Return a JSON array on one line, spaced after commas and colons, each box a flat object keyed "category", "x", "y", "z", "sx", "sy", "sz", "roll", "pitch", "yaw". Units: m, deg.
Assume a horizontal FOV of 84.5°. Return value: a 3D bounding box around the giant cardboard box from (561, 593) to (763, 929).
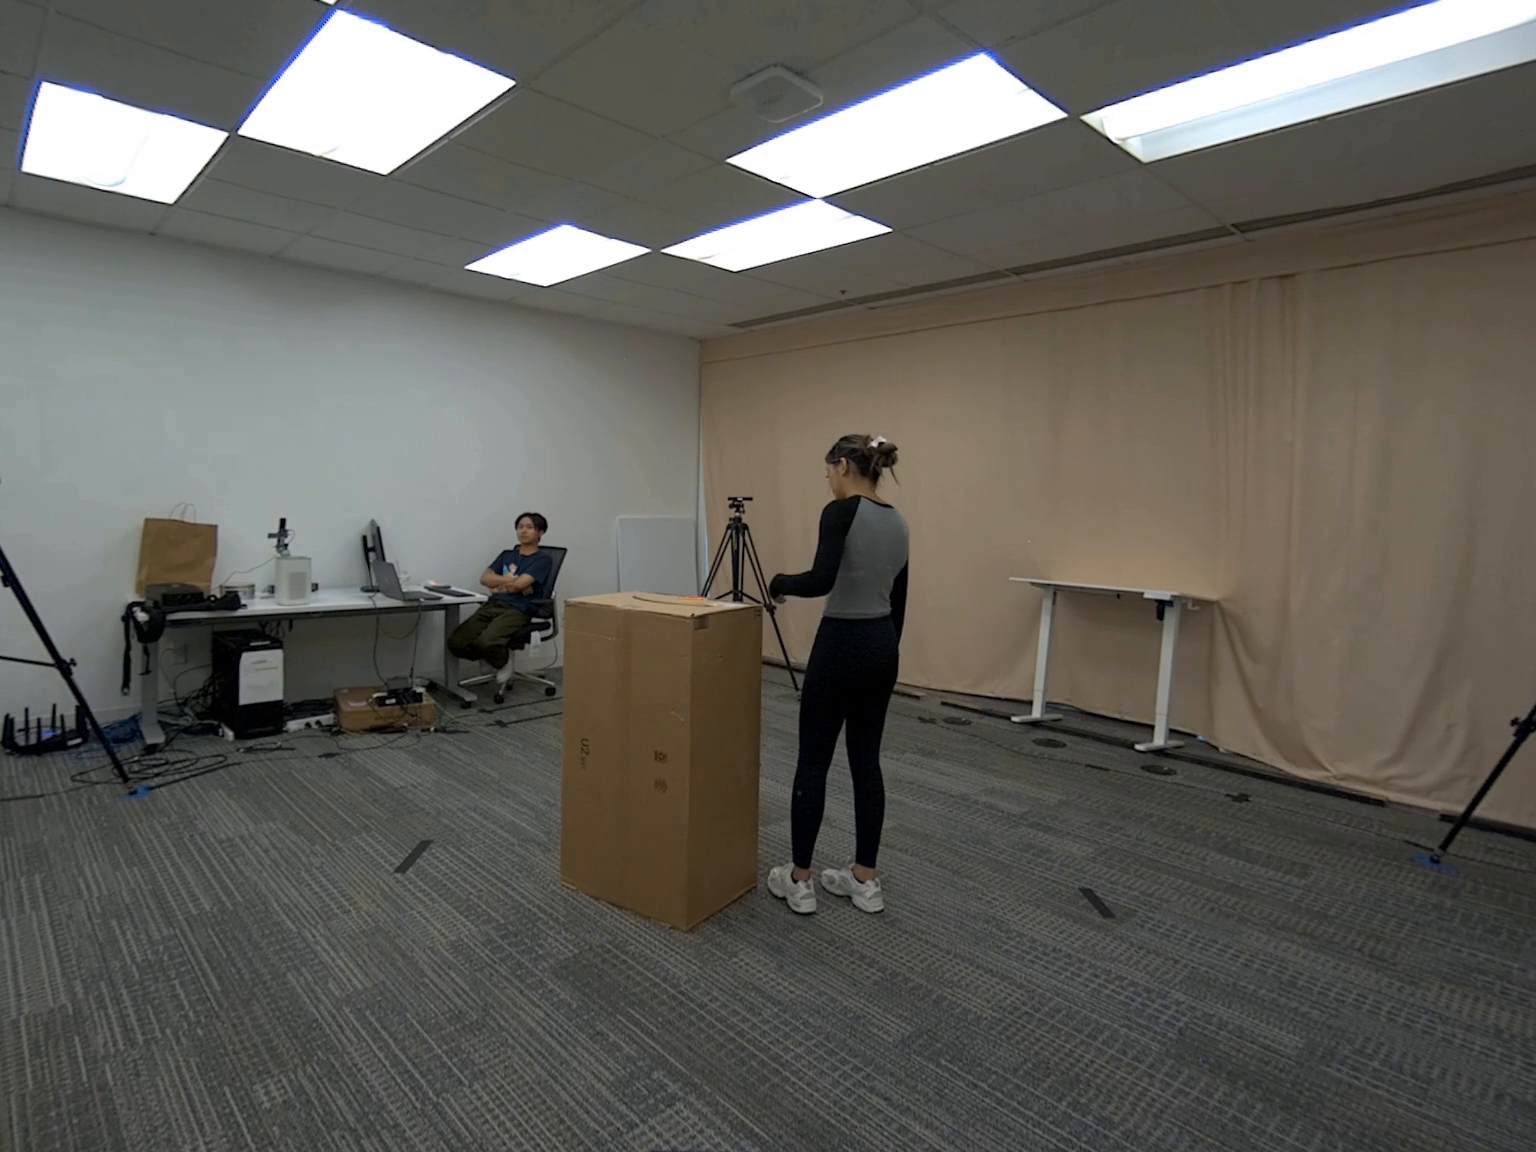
[{"category": "giant cardboard box", "x": -0.388, "y": 0.603, "z": 3.000, "sx": 0.591, "sy": 1.024, "sz": 0.417, "roll": 4, "pitch": 4, "yaw": 35}]
